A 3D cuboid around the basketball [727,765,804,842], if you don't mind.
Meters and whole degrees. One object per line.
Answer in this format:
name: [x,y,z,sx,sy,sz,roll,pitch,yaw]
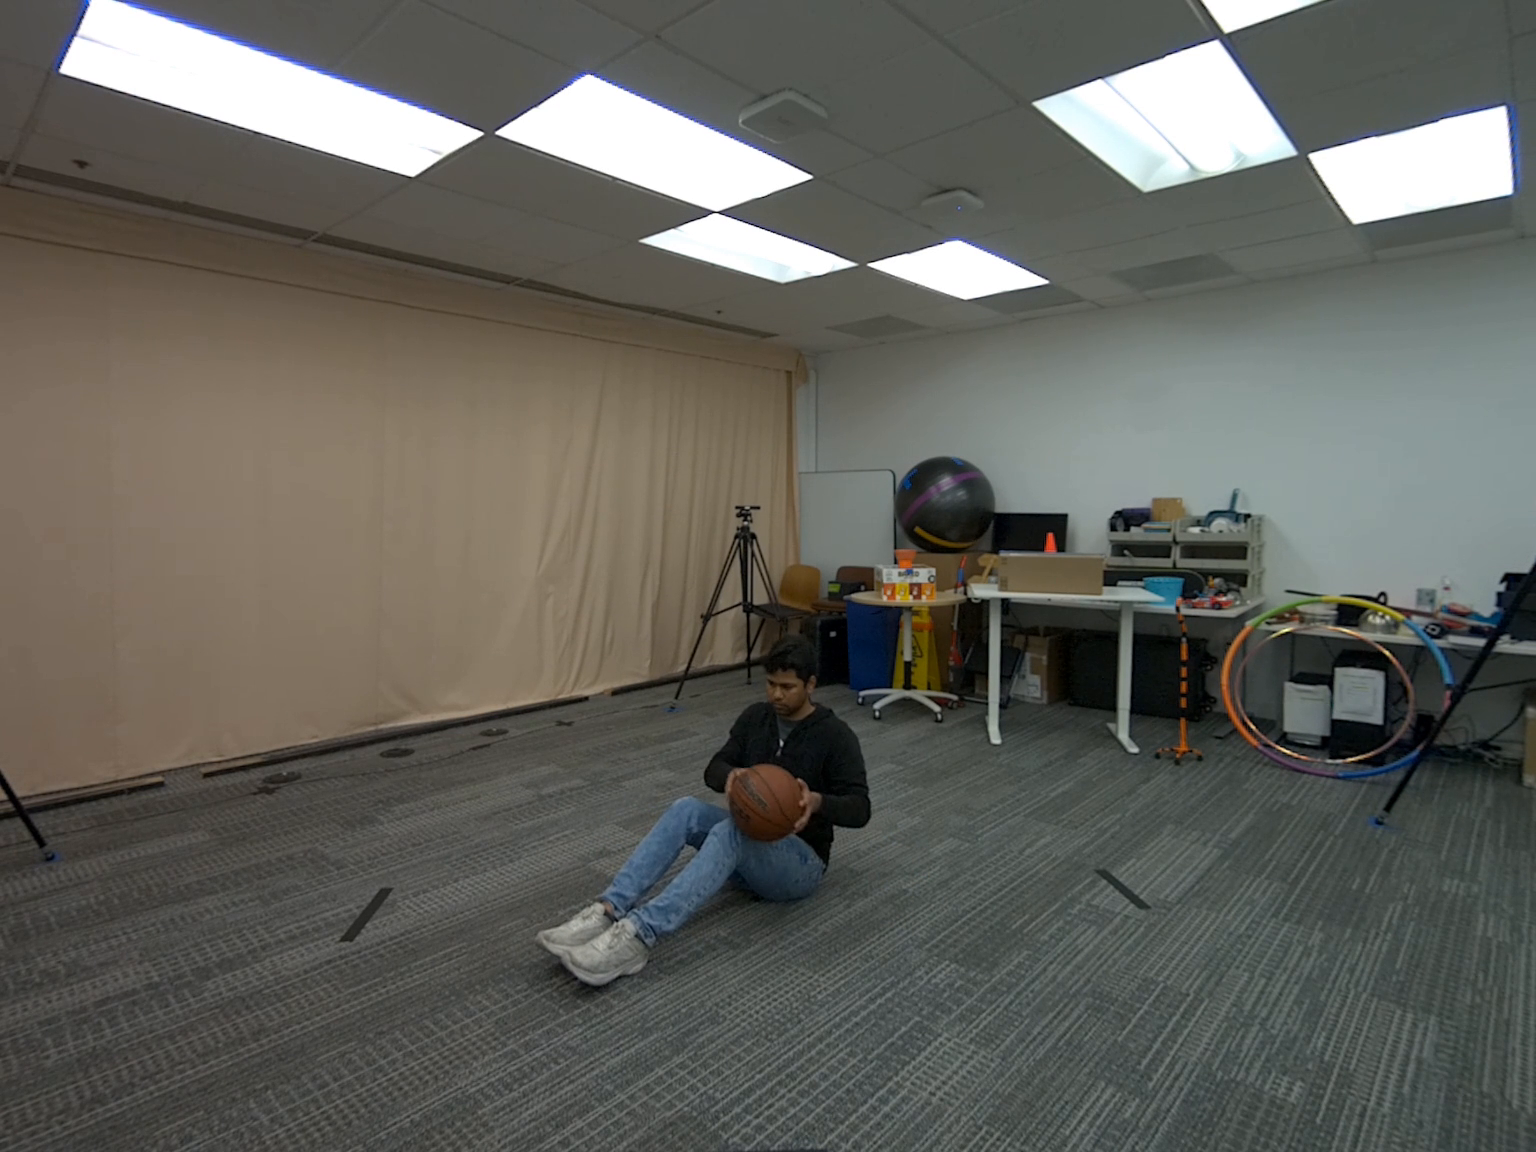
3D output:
basketball: [0.001,0.730,2.710,0.236,0.235,0.237,0,4,-2]
